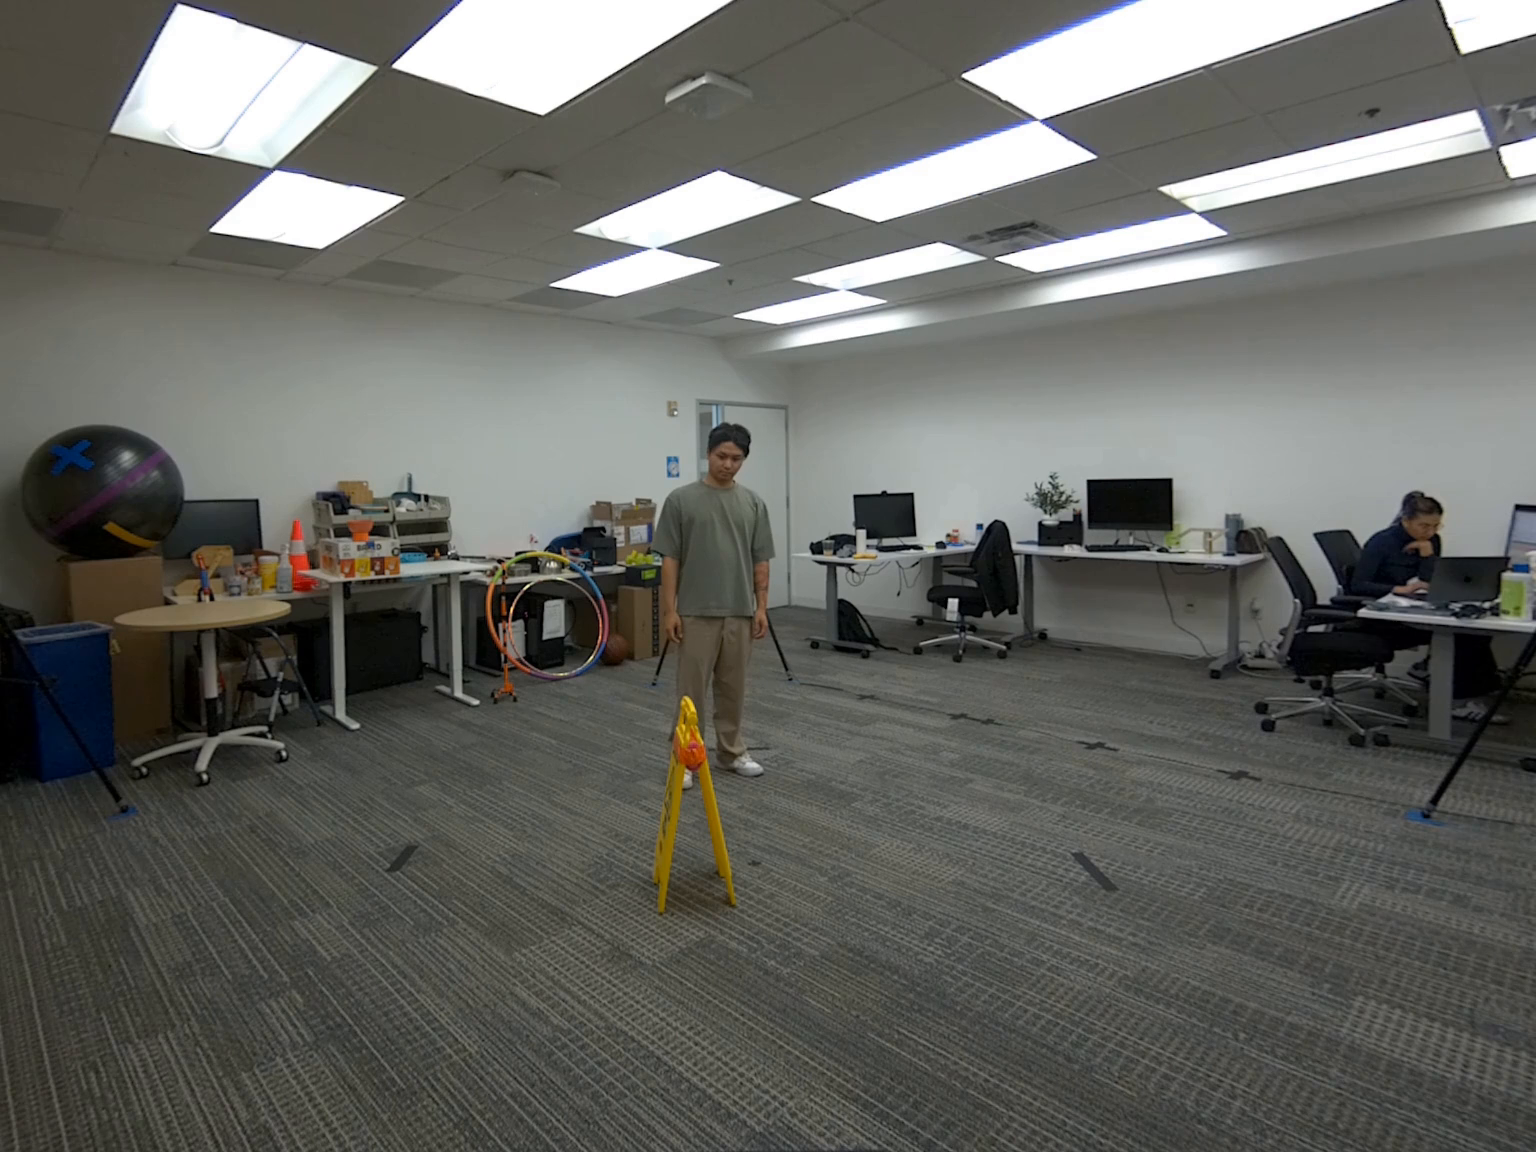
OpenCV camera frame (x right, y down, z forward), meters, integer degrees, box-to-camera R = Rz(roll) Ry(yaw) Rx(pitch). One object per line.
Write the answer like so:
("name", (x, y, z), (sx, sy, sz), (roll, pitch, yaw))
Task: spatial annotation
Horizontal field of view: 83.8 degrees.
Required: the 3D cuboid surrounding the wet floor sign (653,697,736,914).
("wet floor sign", (-0.265, 0.750, 2.884), (0.287, 0.643, 0.286), (-2, 4, -10))
